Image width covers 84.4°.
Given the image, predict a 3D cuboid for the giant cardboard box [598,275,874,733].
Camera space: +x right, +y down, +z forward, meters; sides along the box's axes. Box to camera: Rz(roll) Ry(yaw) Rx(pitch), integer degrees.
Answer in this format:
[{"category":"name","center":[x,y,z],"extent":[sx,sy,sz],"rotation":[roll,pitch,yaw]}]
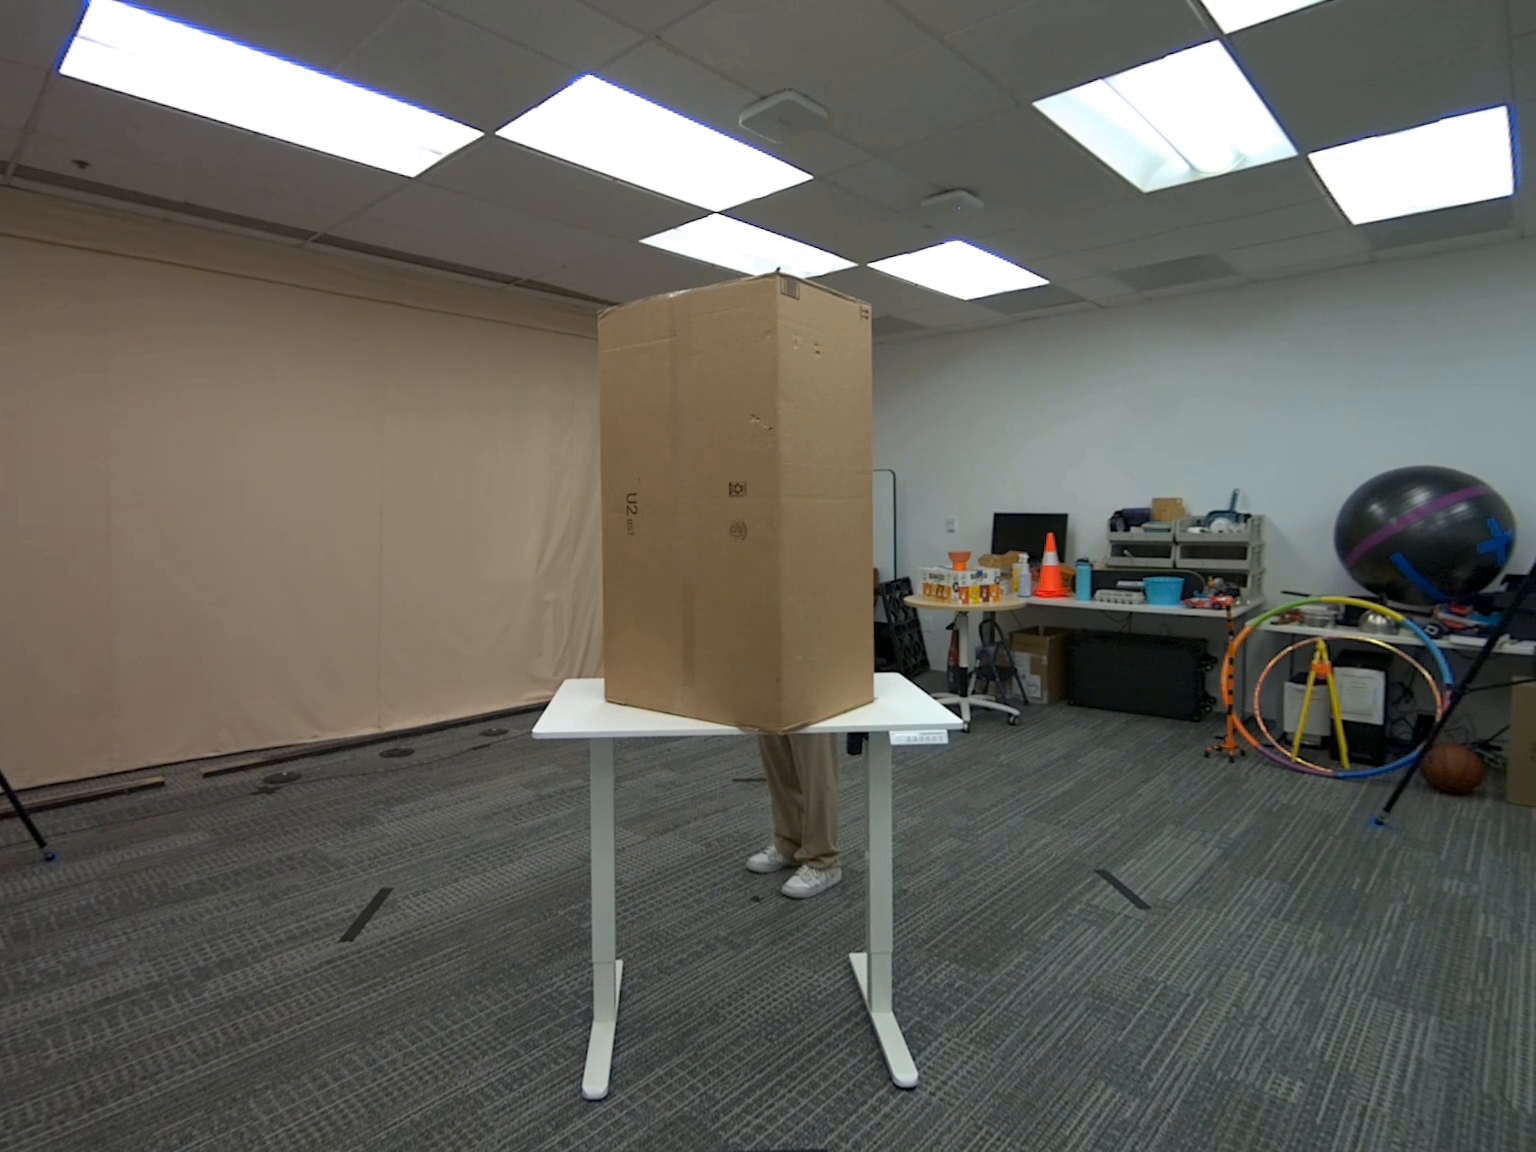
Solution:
[{"category":"giant cardboard box","center":[-0.081,-0.179,2.180],"extent":[0.596,1.024,0.413],"rotation":[2,3,38]}]
